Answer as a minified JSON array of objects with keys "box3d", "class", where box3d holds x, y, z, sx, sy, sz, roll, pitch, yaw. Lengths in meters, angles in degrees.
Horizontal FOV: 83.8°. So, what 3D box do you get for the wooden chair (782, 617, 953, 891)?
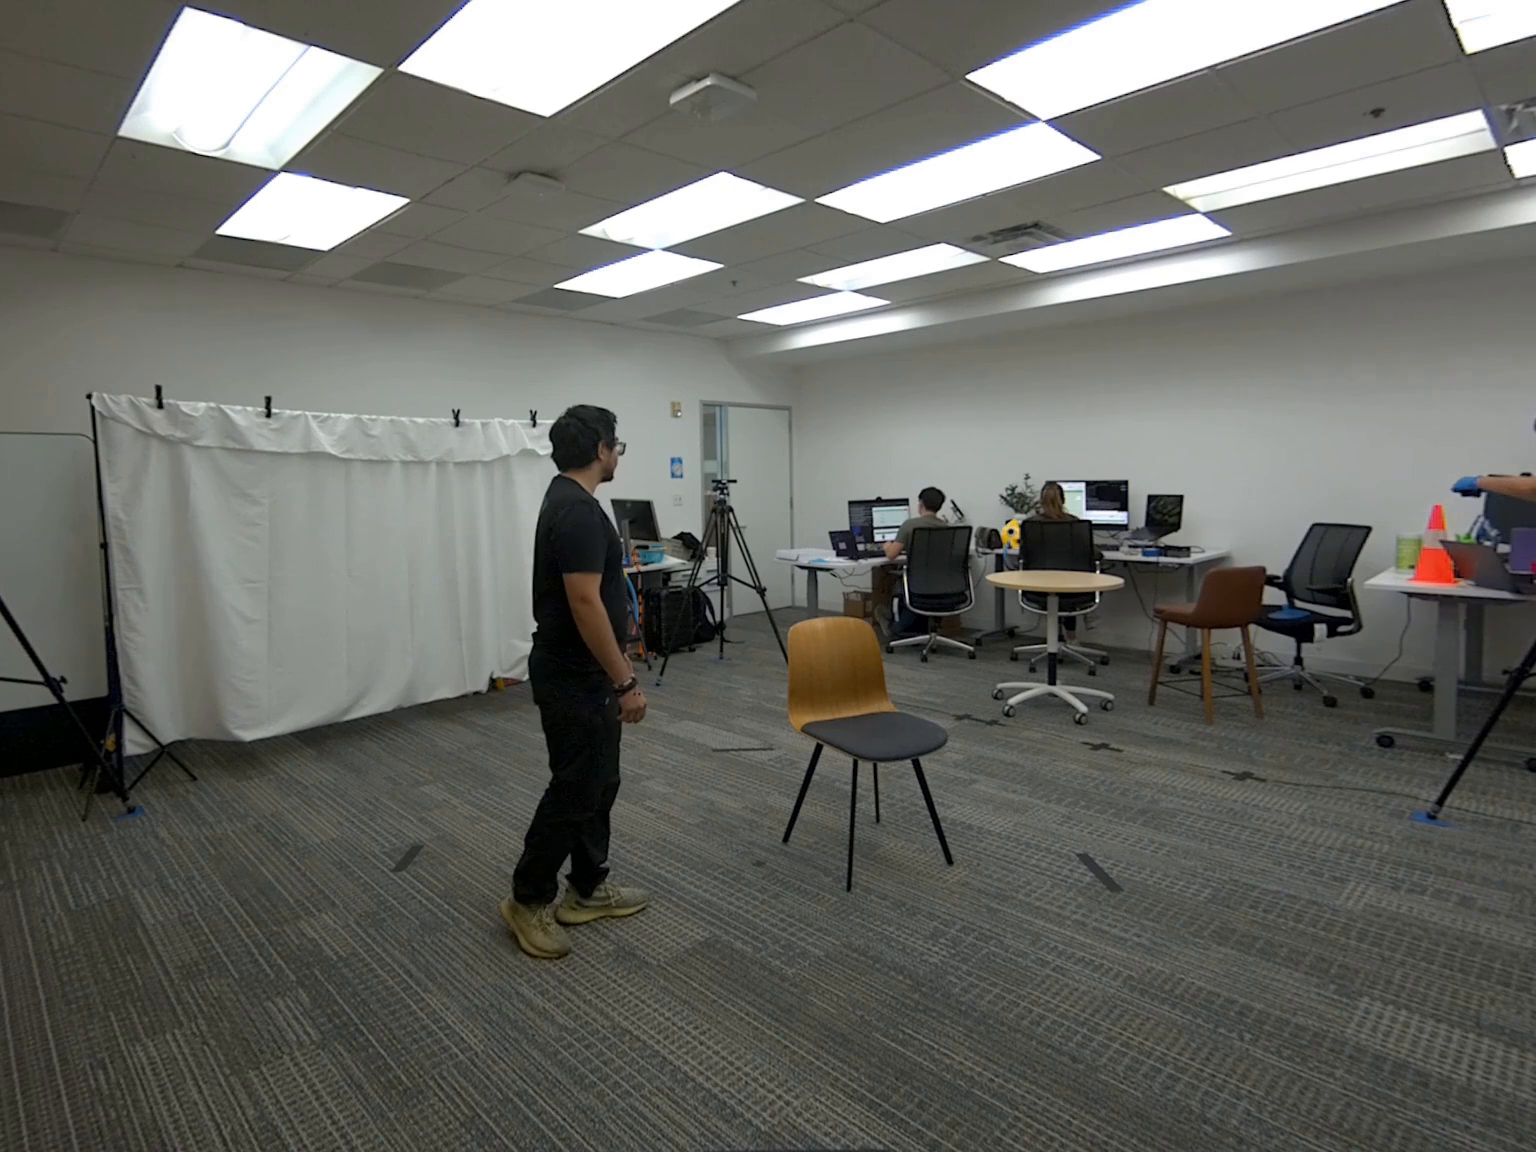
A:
[{"box3d":[0.359,0.610,3.145,0.467,0.877,0.535,-3,0,-27],"class":"wooden chair"}]
